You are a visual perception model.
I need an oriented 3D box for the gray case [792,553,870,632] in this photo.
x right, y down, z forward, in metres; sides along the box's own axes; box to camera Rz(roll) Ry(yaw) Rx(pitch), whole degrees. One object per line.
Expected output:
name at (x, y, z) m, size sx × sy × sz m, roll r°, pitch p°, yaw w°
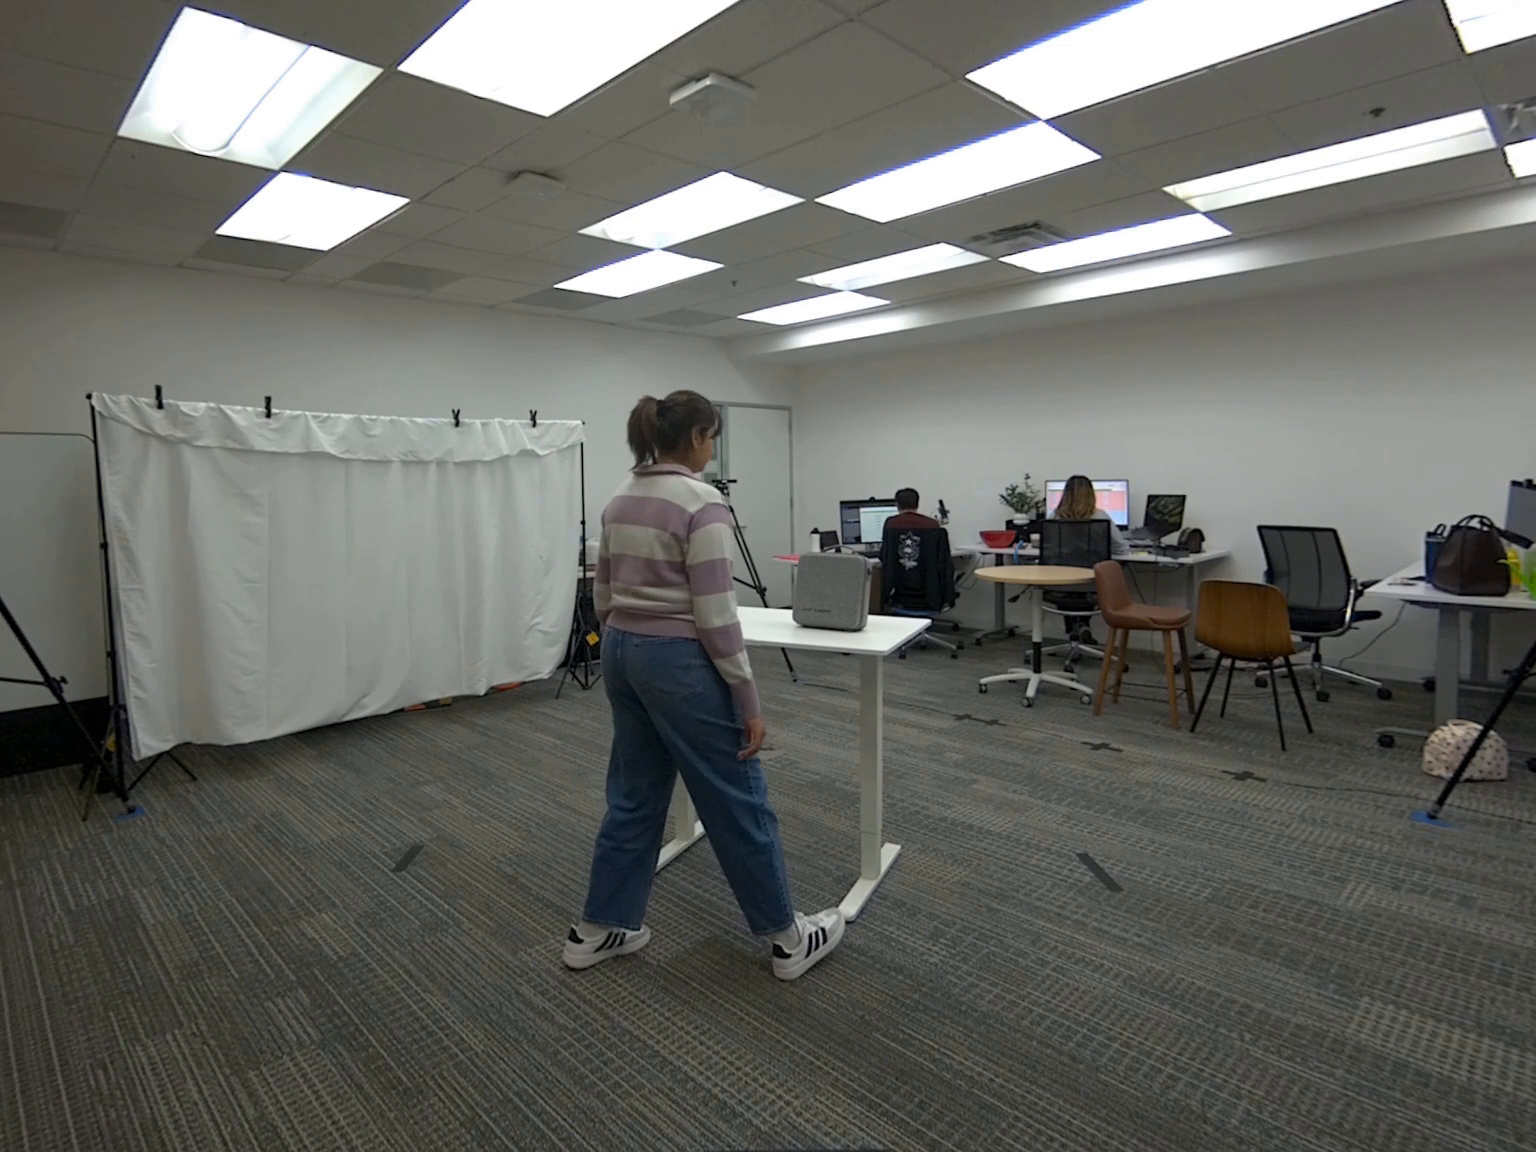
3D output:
gray case at (0.221, 0.047, 2.949) m, size 0.264 × 0.262 × 0.101 m, roll 4°, pitch -6°, yaw 32°
